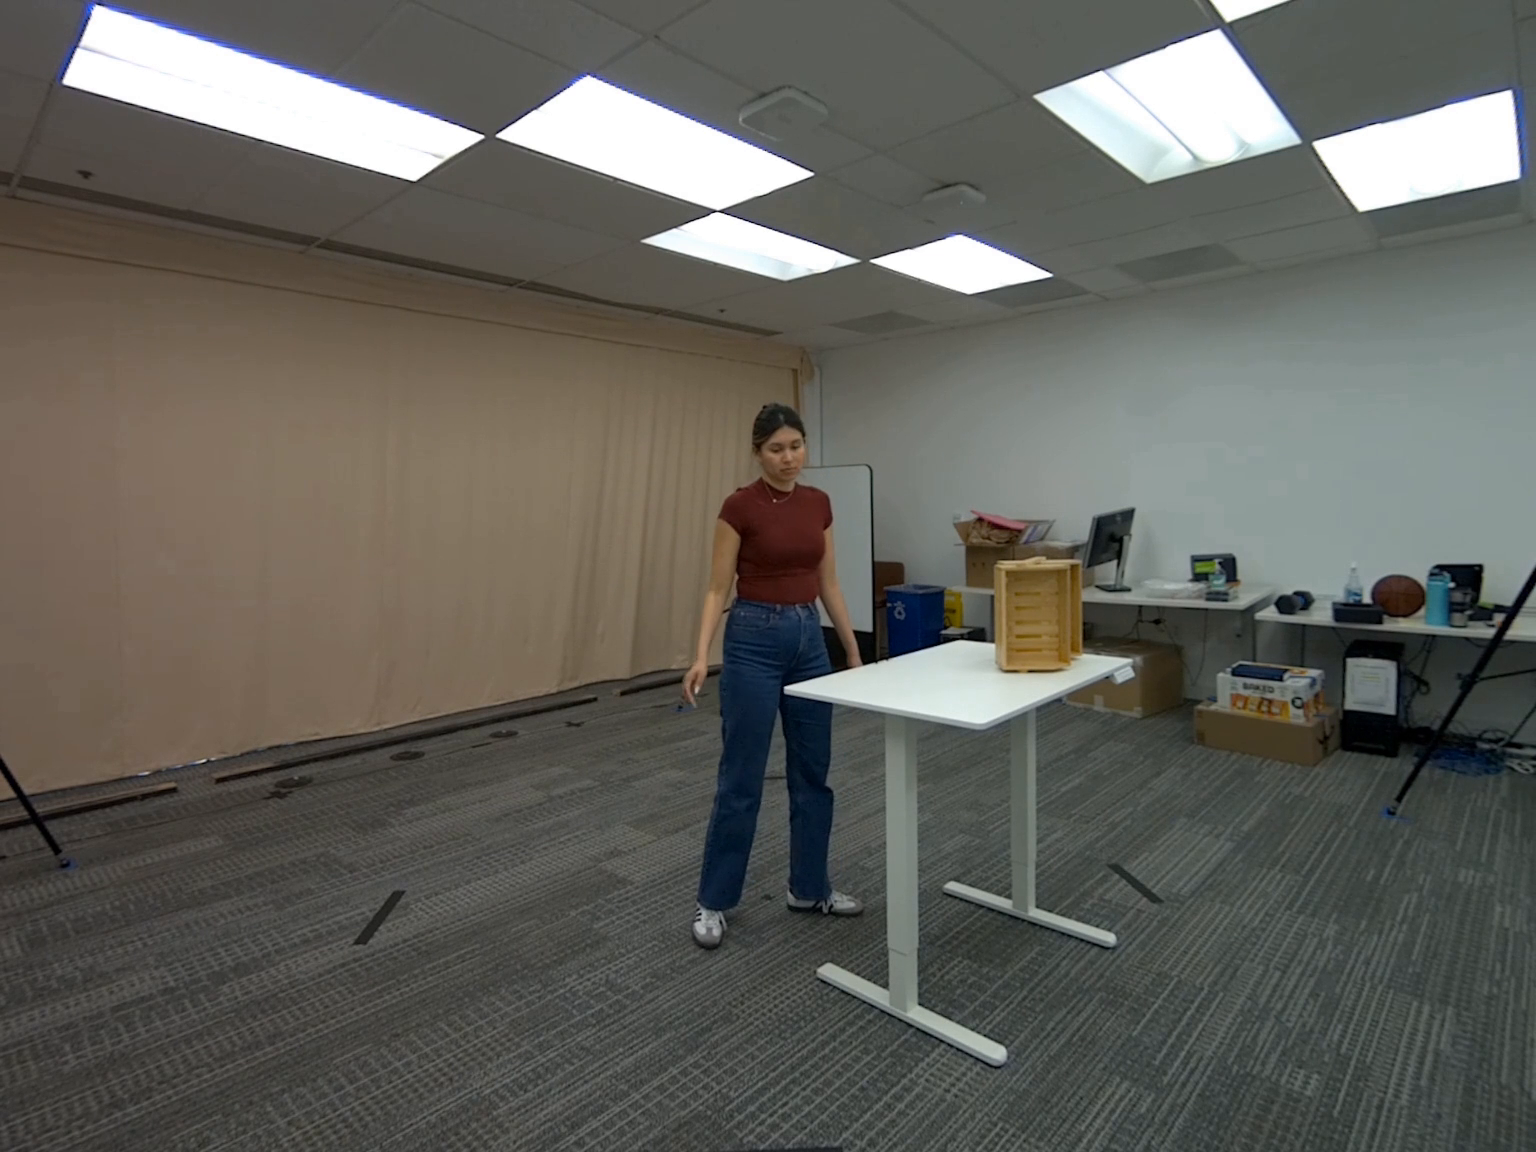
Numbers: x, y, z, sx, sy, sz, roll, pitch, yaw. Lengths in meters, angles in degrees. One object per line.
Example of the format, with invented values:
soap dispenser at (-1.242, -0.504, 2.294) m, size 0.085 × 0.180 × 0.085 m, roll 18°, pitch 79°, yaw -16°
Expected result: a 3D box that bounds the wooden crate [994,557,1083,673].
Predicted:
wooden crate at (0.851, 0.116, 2.574) m, size 0.303 × 0.324 × 0.273 m, roll -2°, pitch 4°, yaw 1°
